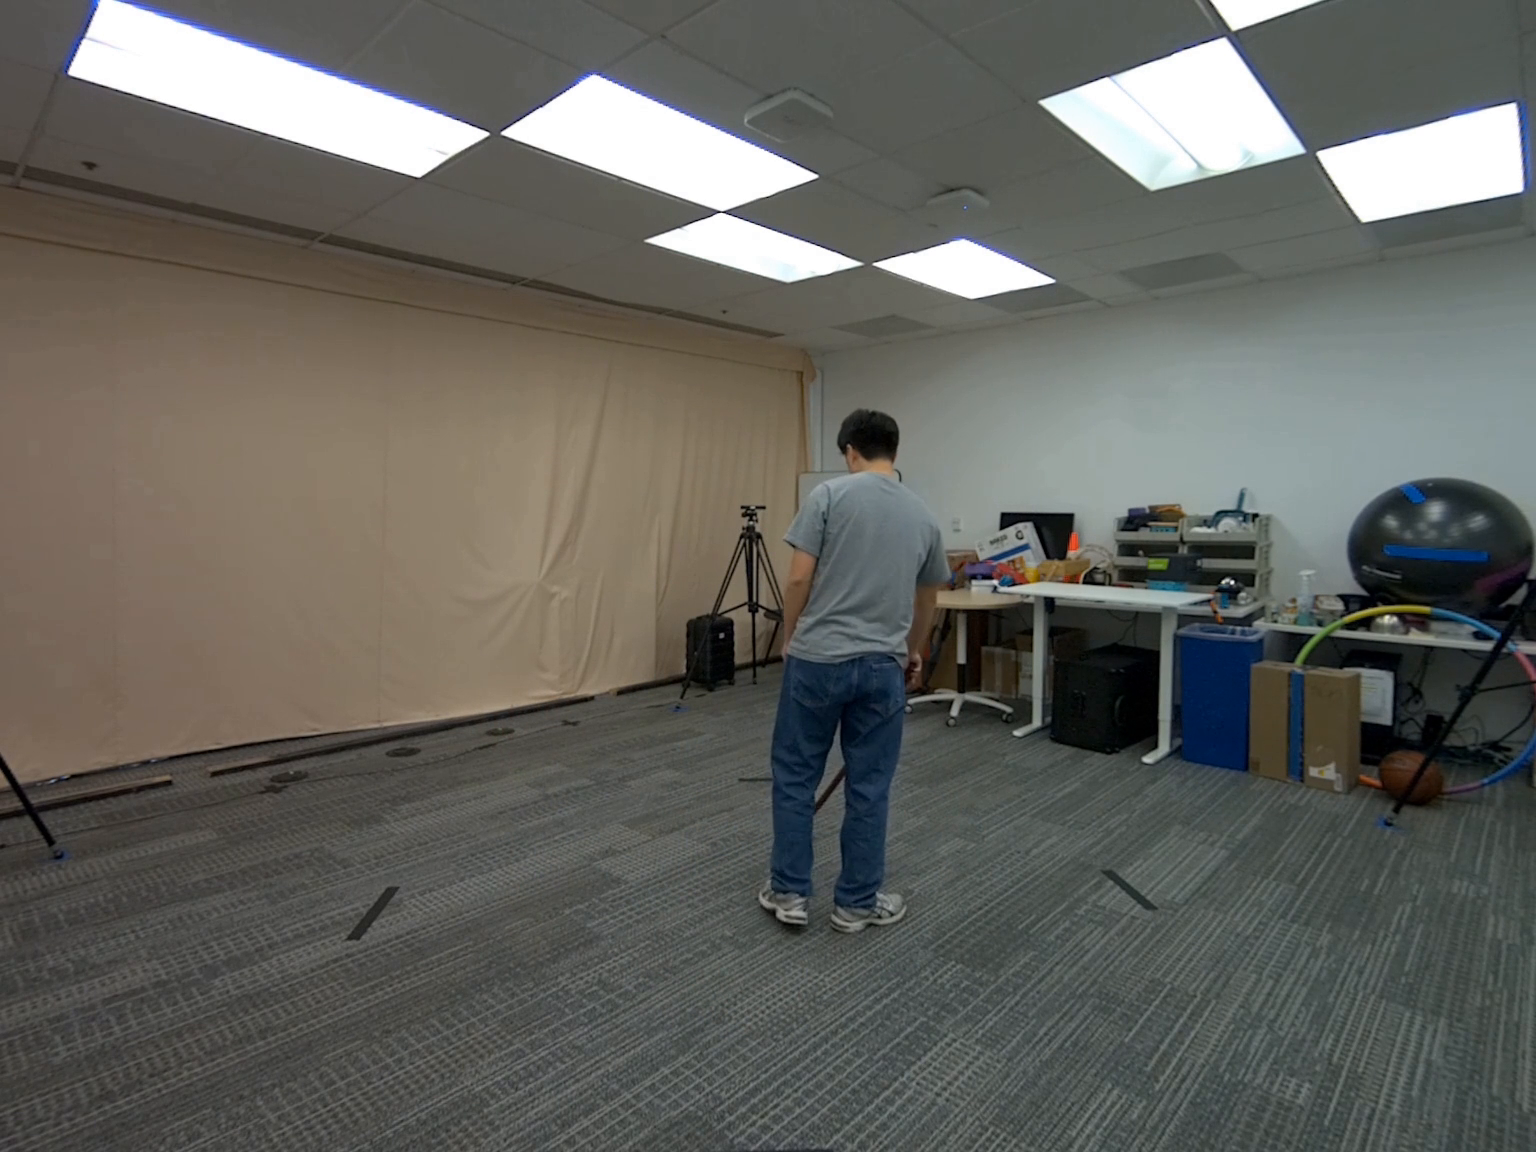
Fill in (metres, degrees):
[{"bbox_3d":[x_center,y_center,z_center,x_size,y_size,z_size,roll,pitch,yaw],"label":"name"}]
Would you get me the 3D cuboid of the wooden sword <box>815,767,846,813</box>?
[{"bbox_3d":[0.363,0.714,3.413,0.050,1.022,0.025,-8,48,-40],"label":"wooden sword"}]
